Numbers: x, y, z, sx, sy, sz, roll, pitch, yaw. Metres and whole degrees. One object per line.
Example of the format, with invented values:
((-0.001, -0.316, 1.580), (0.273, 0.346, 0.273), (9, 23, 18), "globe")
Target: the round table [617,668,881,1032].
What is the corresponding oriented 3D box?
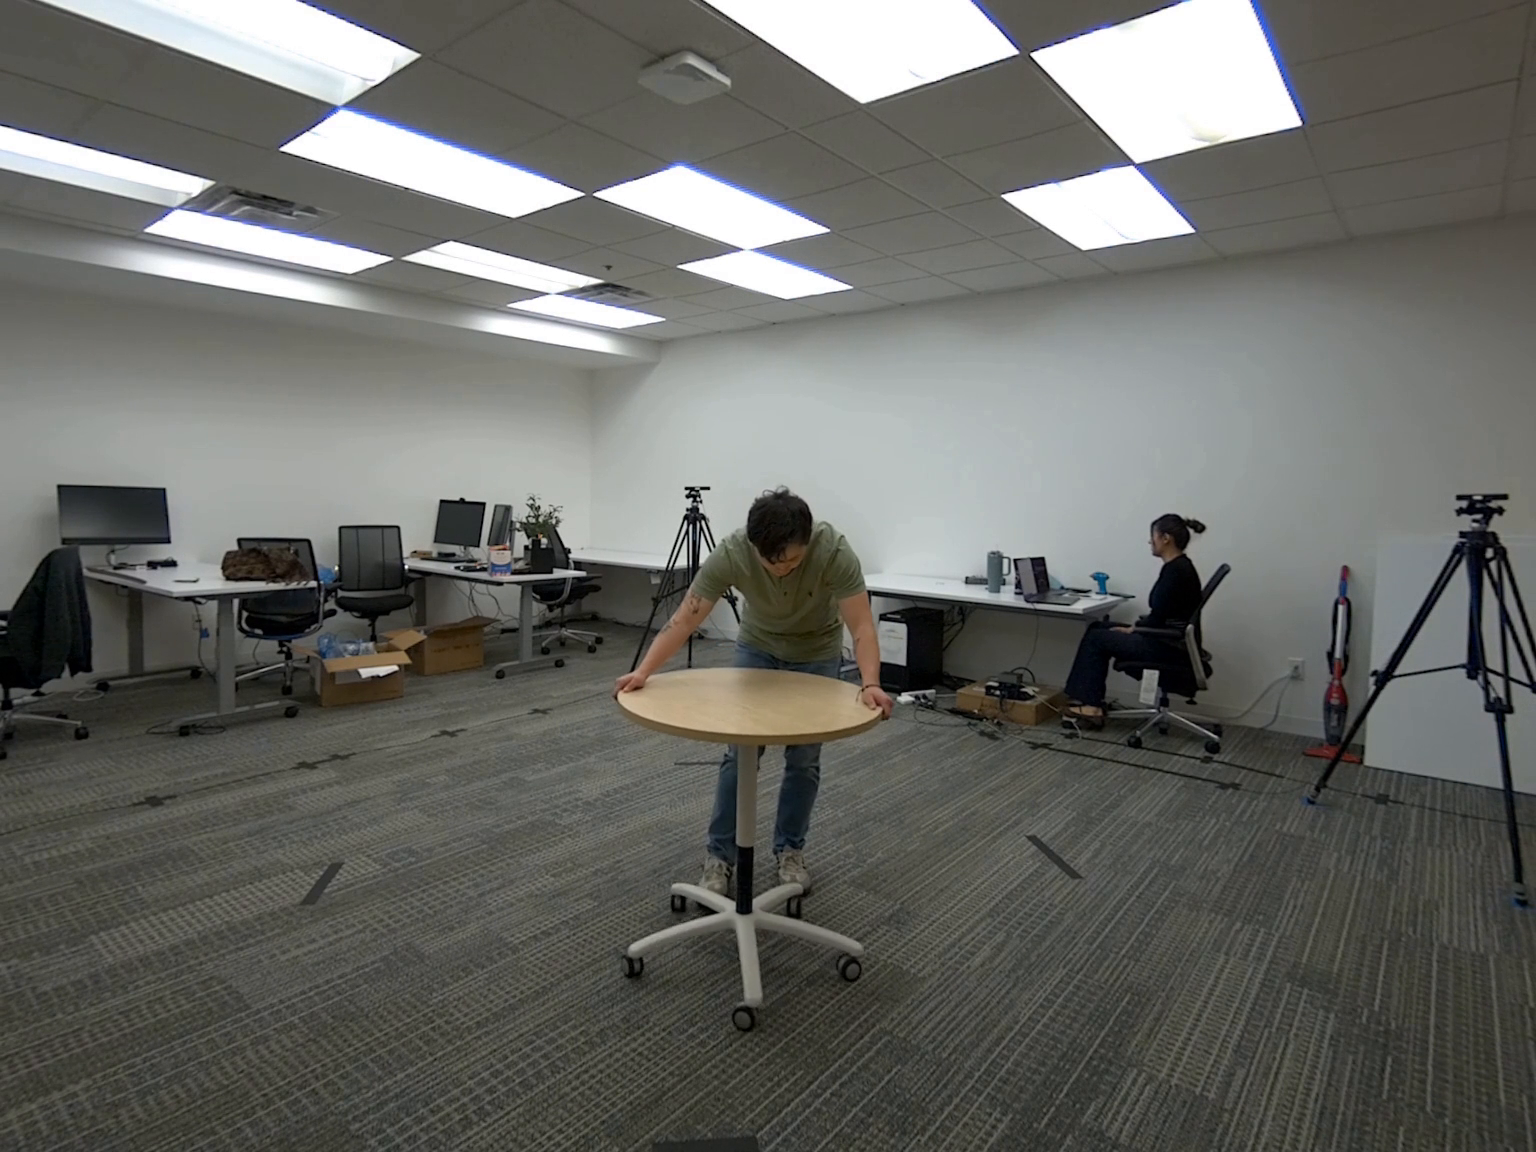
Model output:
((-0.084, 0.738, 2.503), (0.763, 0.791, 0.768), (1, 5, -2), "round table")
